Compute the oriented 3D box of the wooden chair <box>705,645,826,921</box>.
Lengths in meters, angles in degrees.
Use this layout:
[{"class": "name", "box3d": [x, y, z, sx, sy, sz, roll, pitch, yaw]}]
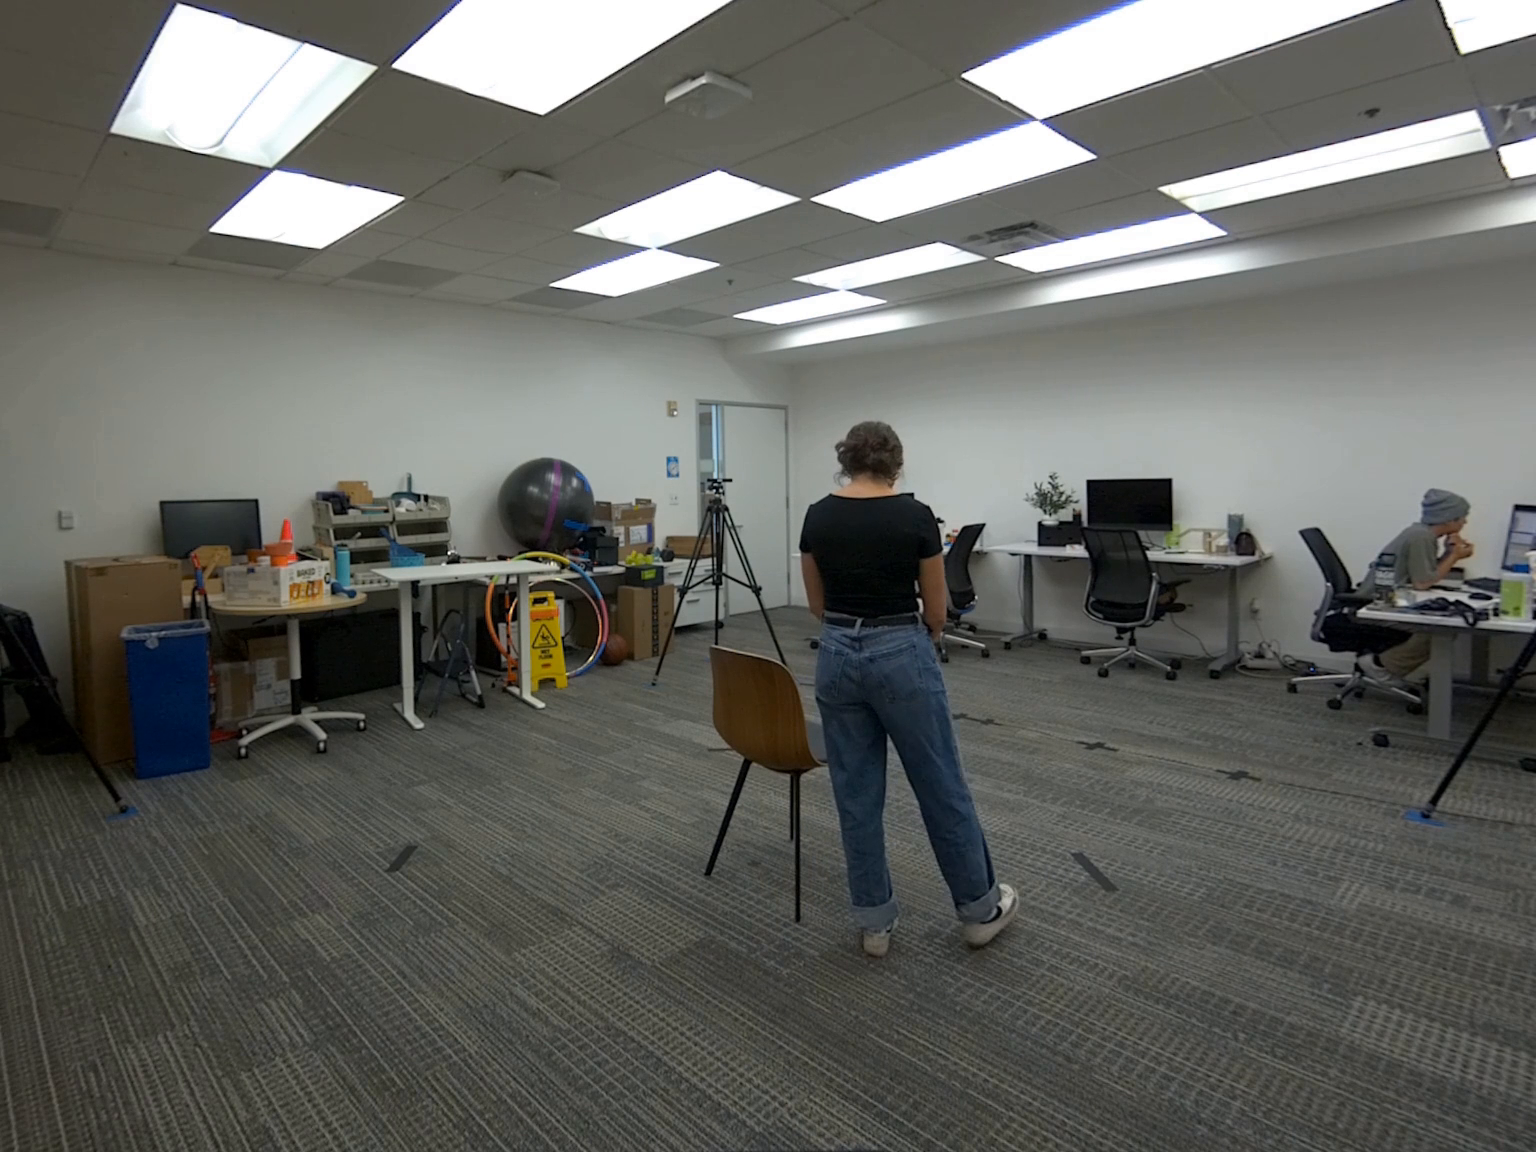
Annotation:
[{"class": "wooden chair", "box3d": [0.093, 0.632, 2.974, 0.511, 0.871, 0.493, -11, 10, -43]}]
